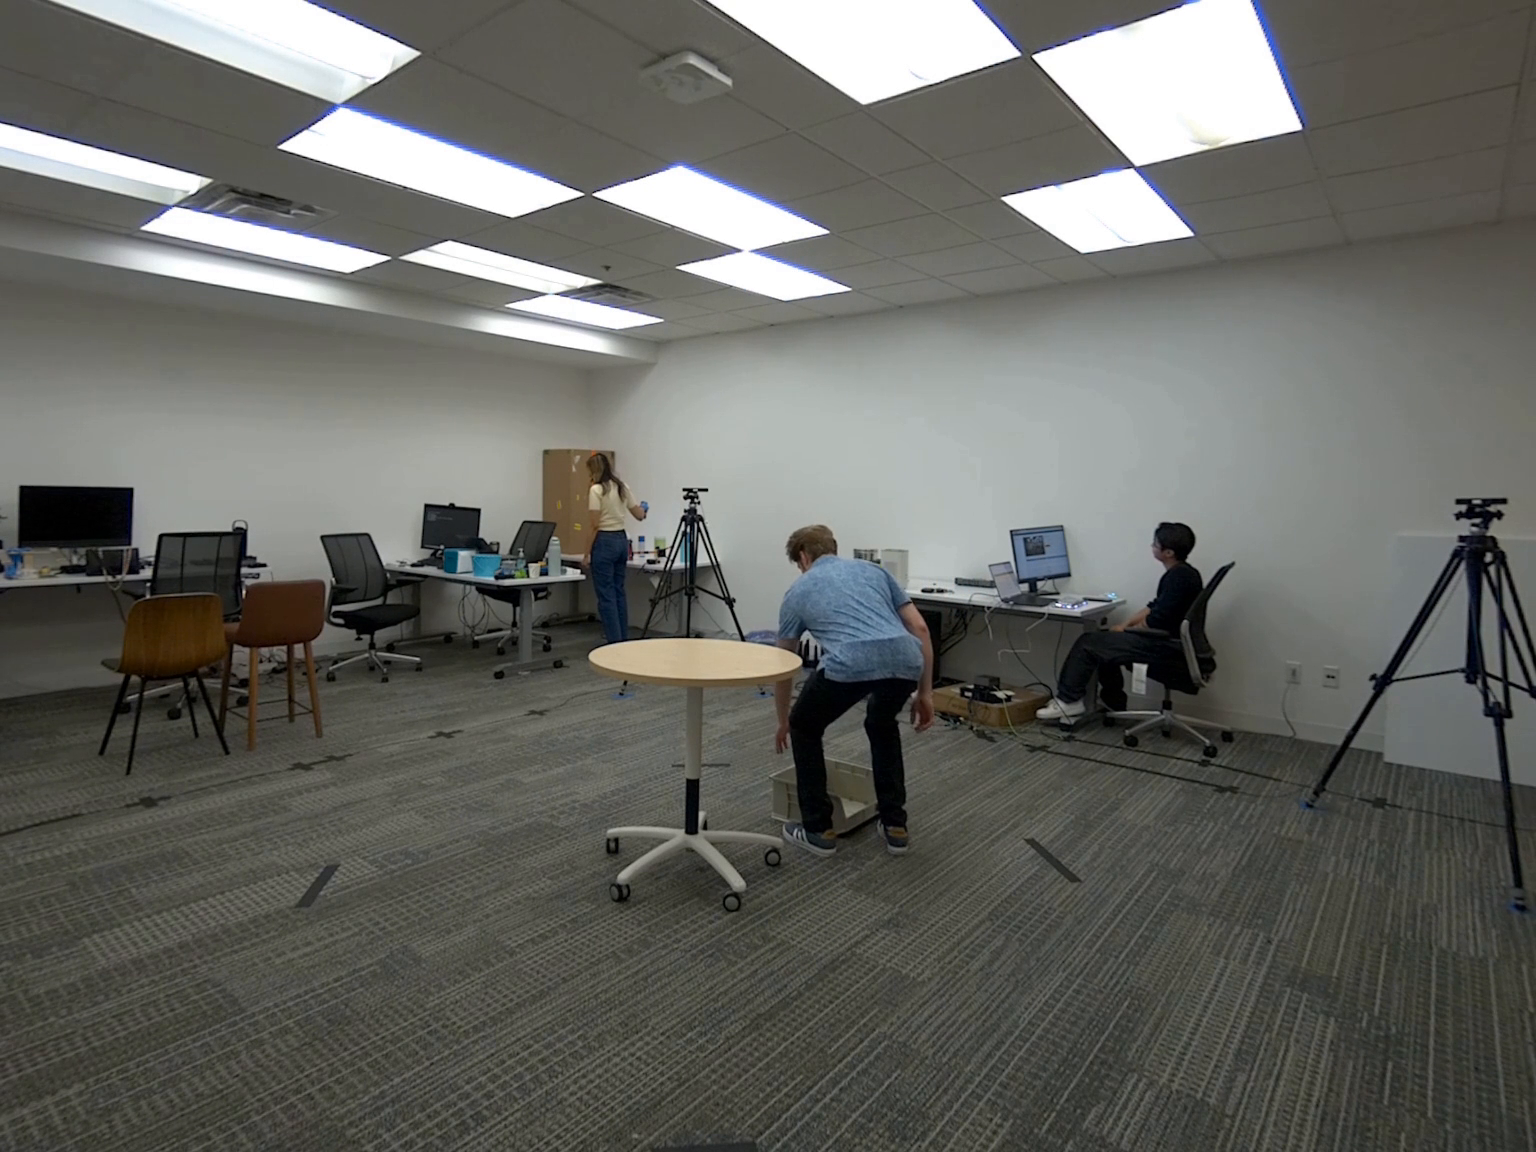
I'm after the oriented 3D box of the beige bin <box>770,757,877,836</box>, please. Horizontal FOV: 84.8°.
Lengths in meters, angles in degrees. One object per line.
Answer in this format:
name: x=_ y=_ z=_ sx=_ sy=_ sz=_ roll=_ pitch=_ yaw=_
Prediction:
beige bin: x=0.267 y=0.939 z=3.663 sx=0.389 sy=0.188 sz=0.410 roll=4 pitch=6 yaw=37
